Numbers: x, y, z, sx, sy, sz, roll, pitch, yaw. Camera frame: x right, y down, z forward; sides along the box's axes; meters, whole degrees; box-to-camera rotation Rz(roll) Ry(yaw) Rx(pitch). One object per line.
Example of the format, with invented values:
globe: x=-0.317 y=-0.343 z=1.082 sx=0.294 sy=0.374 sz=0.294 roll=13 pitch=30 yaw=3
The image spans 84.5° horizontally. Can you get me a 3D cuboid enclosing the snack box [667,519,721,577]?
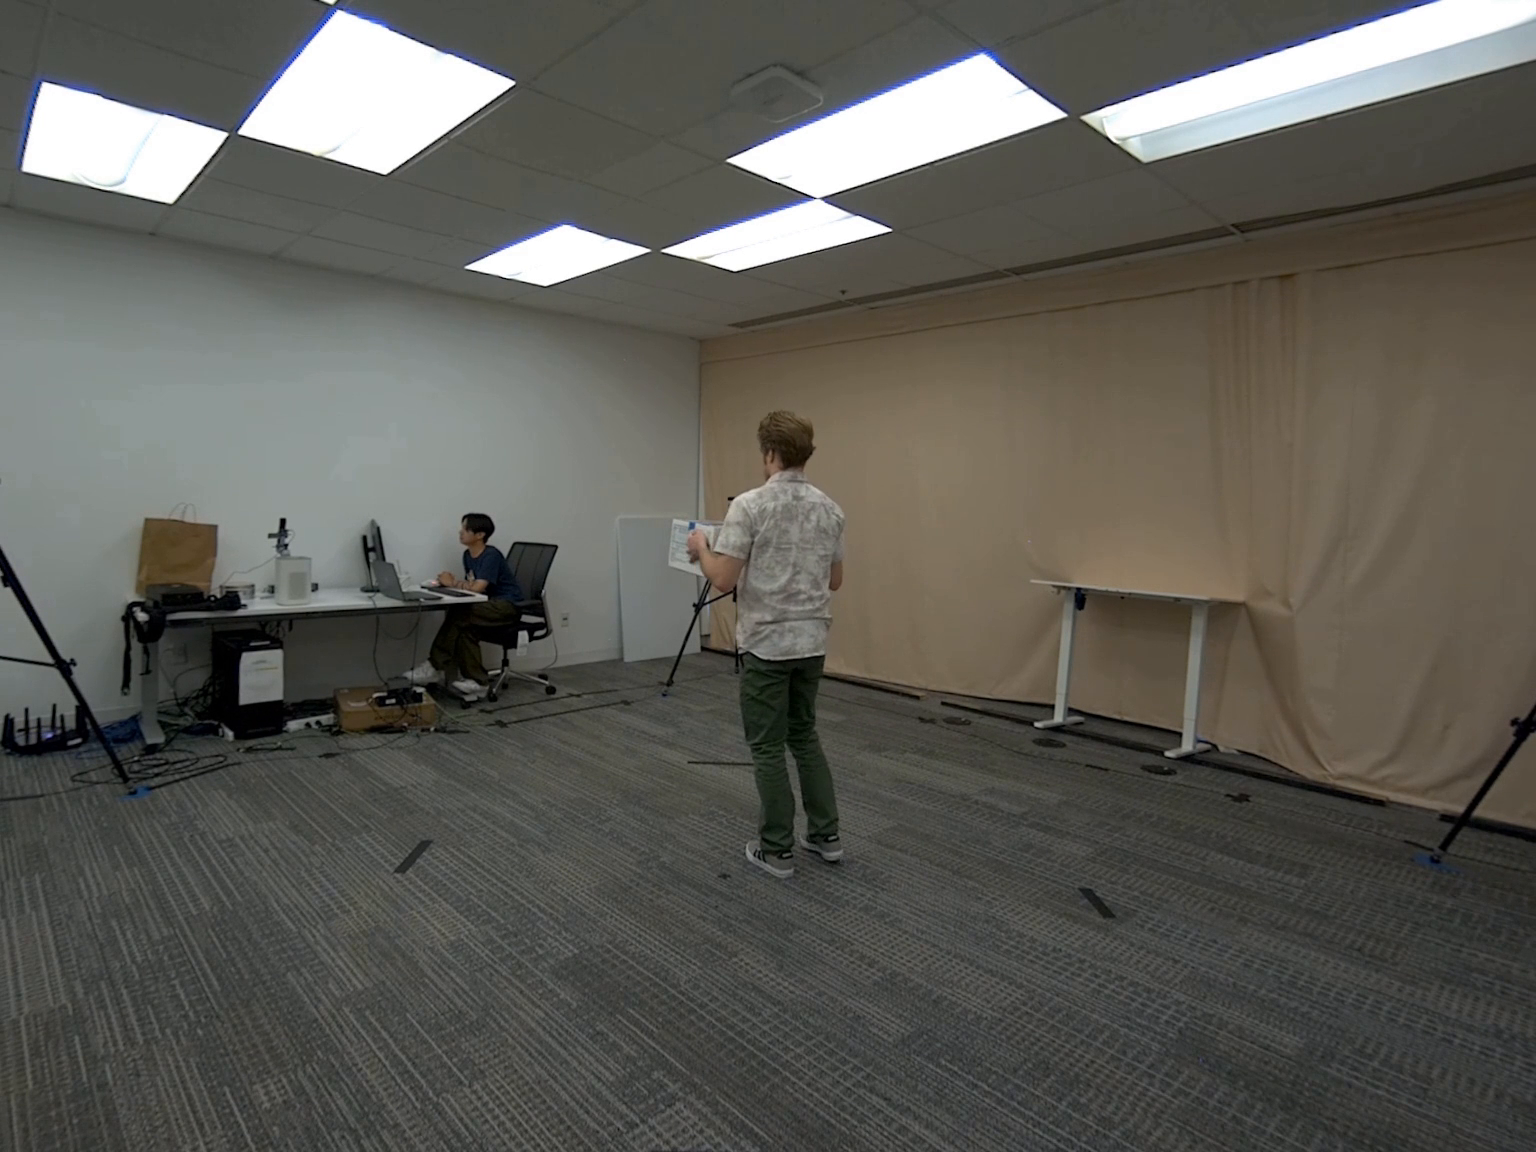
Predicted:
snack box: x=-0.147 y=-0.108 z=3.479 sx=0.396 sy=0.205 sz=0.349 roll=2 pitch=7 yaw=-34
